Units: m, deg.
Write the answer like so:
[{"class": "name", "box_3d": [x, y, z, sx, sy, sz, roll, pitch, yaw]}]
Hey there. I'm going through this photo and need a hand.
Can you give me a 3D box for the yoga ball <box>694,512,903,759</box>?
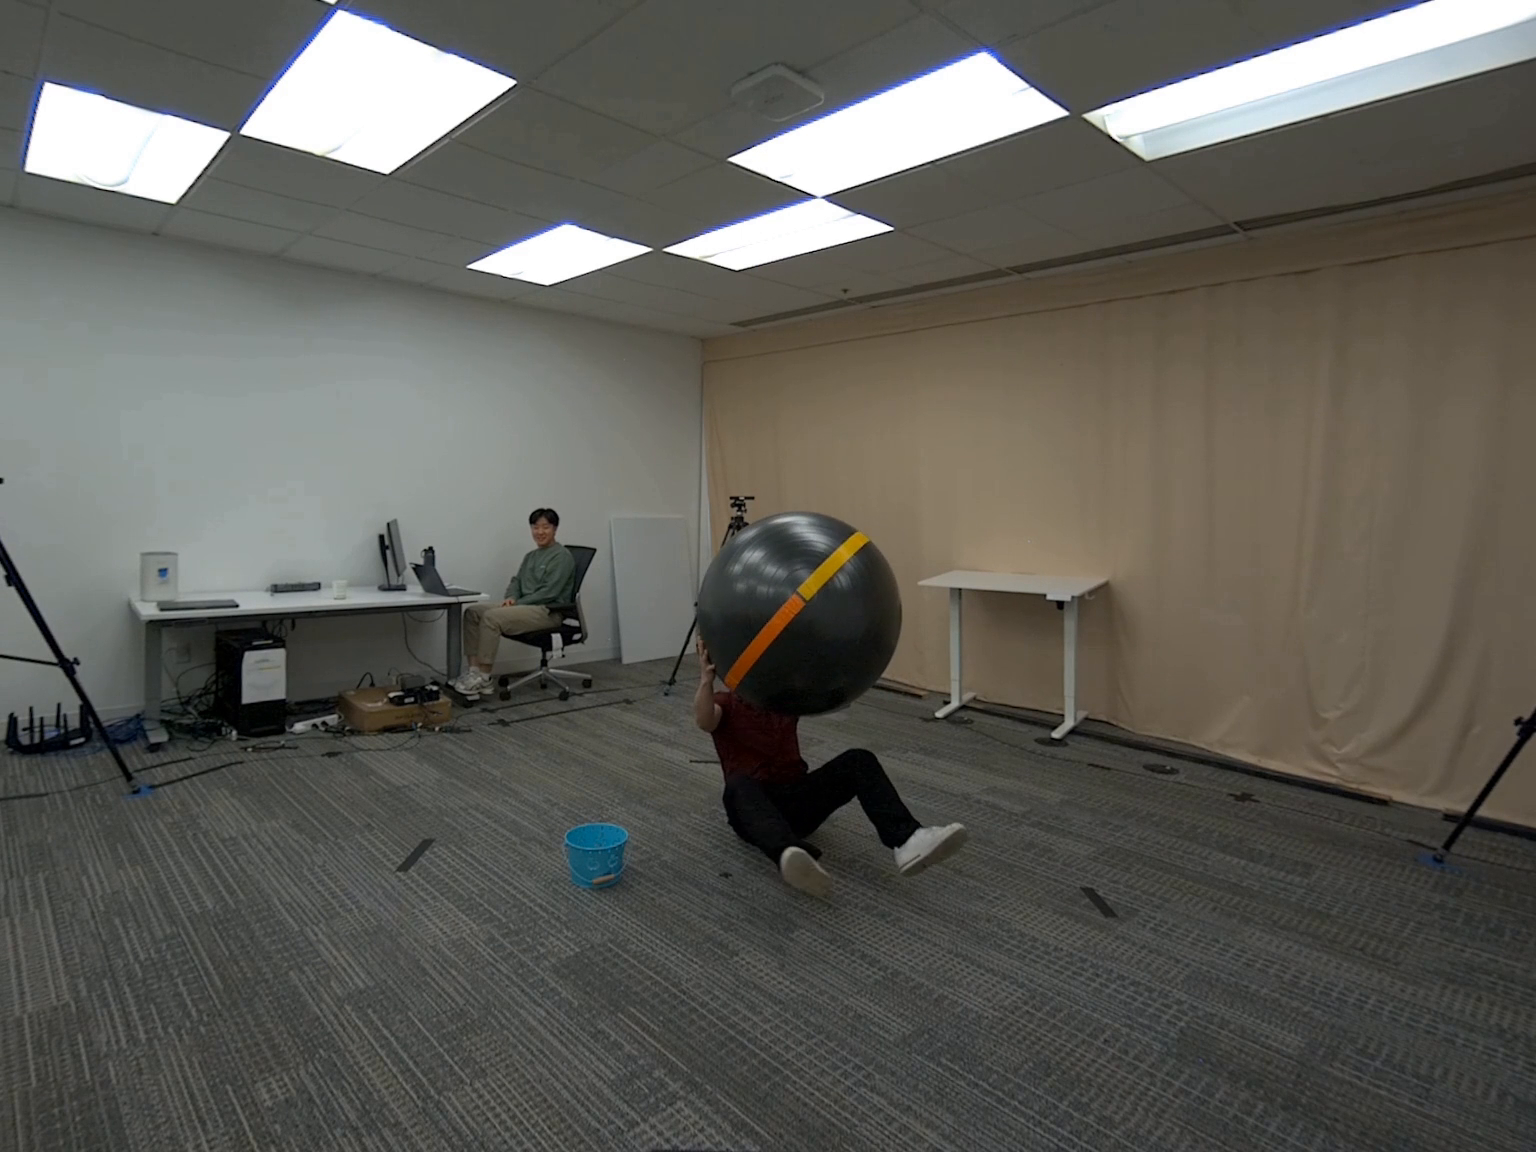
[{"class": "yoga ball", "box_3d": [0.109, 0.149, 3.126, 0.757, 0.756, 0.761, 1, 4, -1]}]
